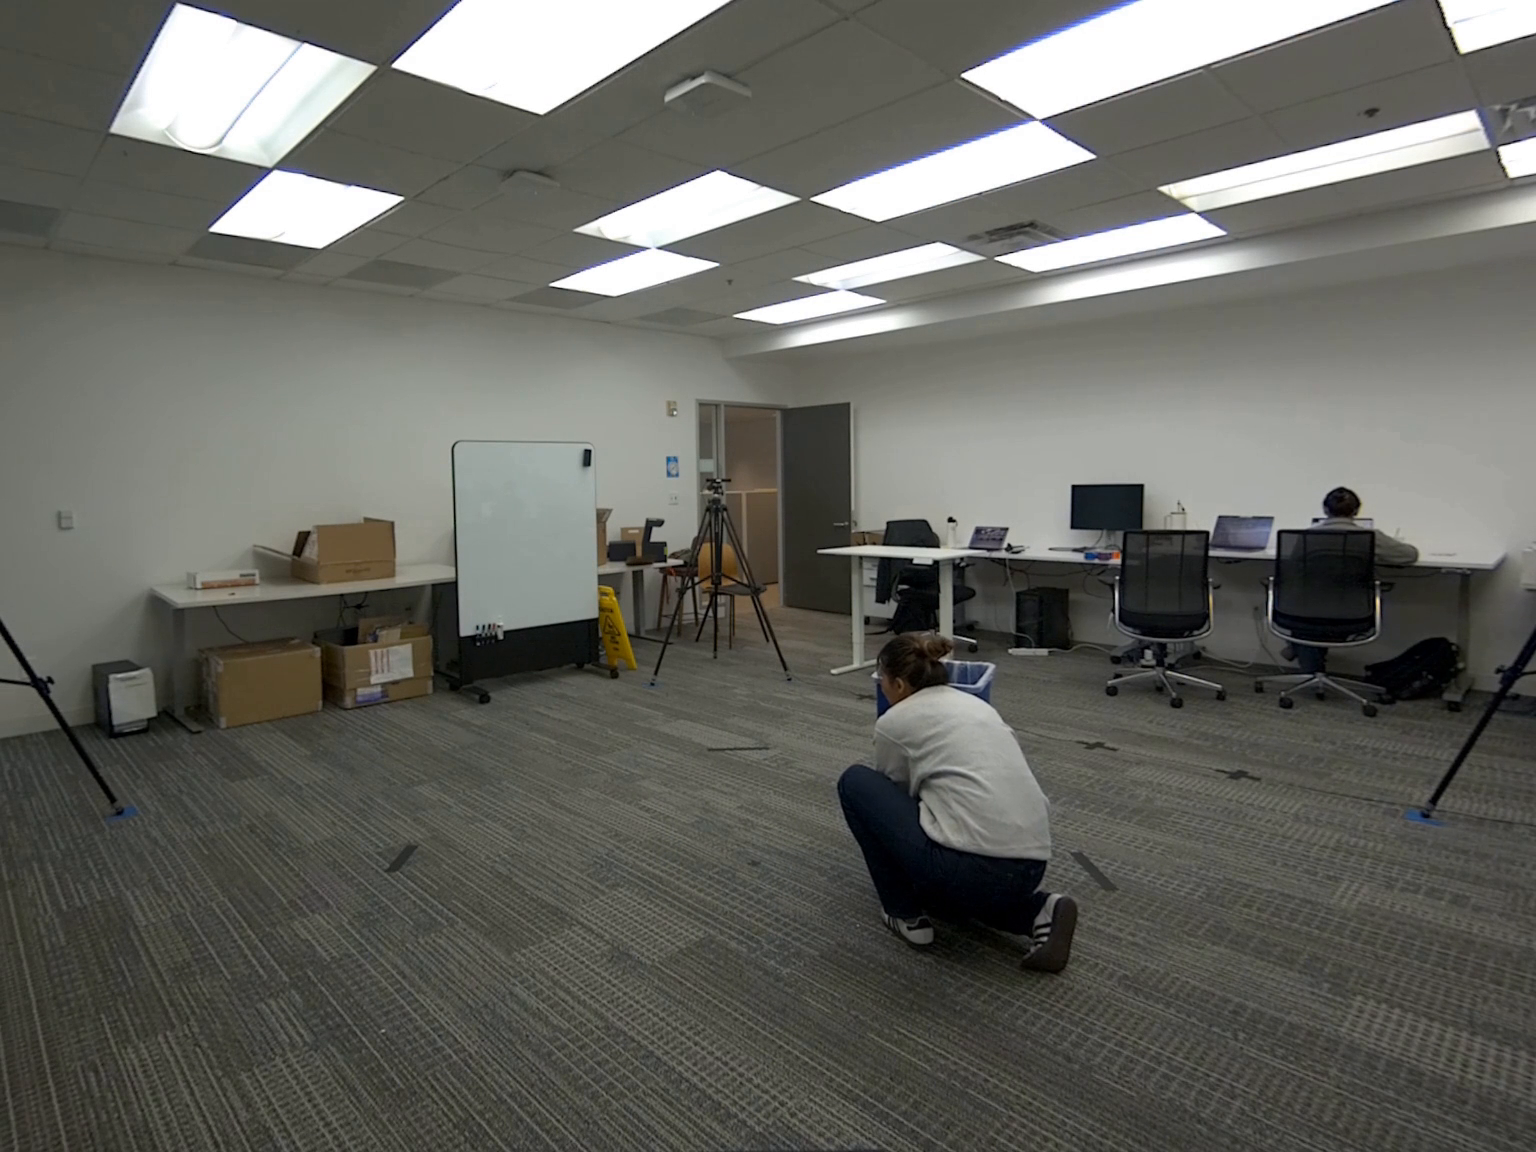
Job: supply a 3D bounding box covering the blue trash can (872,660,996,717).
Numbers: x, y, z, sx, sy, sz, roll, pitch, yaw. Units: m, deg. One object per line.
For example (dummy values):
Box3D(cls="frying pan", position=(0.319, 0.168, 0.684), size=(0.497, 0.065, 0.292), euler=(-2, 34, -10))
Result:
Box3D(cls="blue trash can", position=(0.598, 0.685, 3.014), size=(0.387, 0.711, 0.367), euler=(1, 4, 25))
